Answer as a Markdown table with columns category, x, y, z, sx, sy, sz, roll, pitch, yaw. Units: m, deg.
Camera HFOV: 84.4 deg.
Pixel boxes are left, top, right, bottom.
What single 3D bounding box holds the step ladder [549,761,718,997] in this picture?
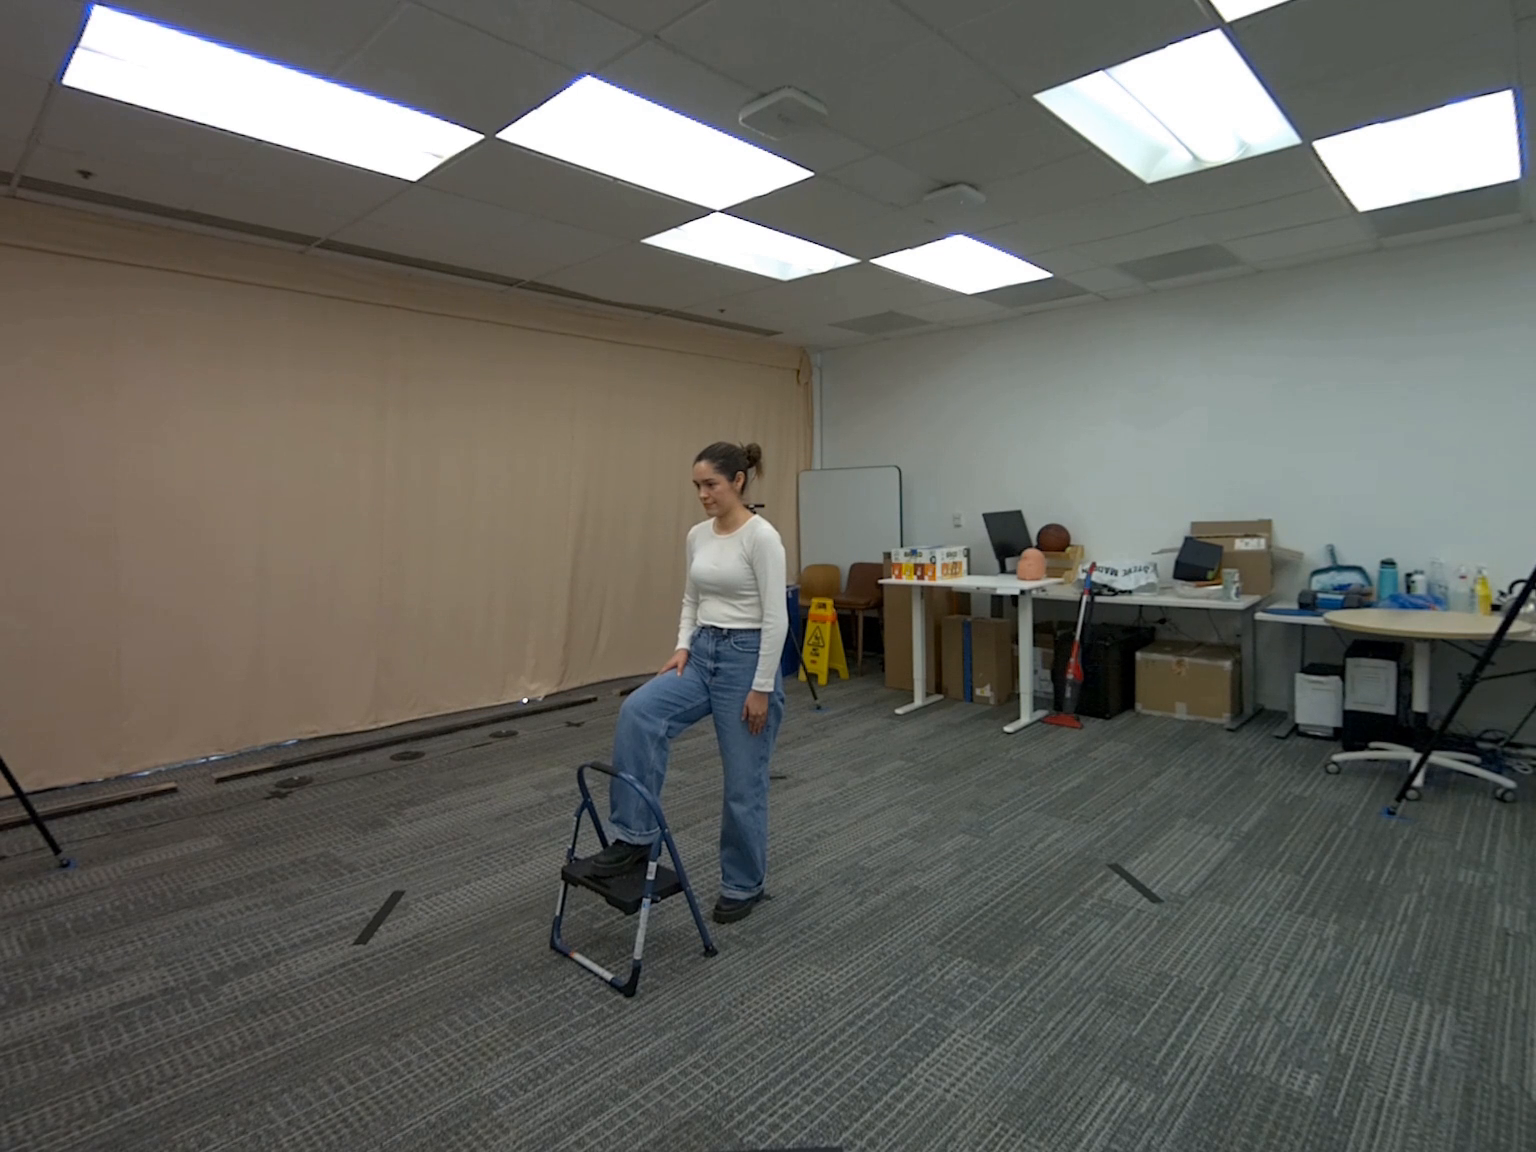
| category | x | y | z | sx | sy | sz | roll | pitch | yaw |
| --- | --- | --- | --- | --- | --- | --- | --- | --- | --- |
| step ladder | -0.433 | 0.878 | 2.631 | 0.445 | 0.605 | 0.339 | 2 | 4 | 43 |
